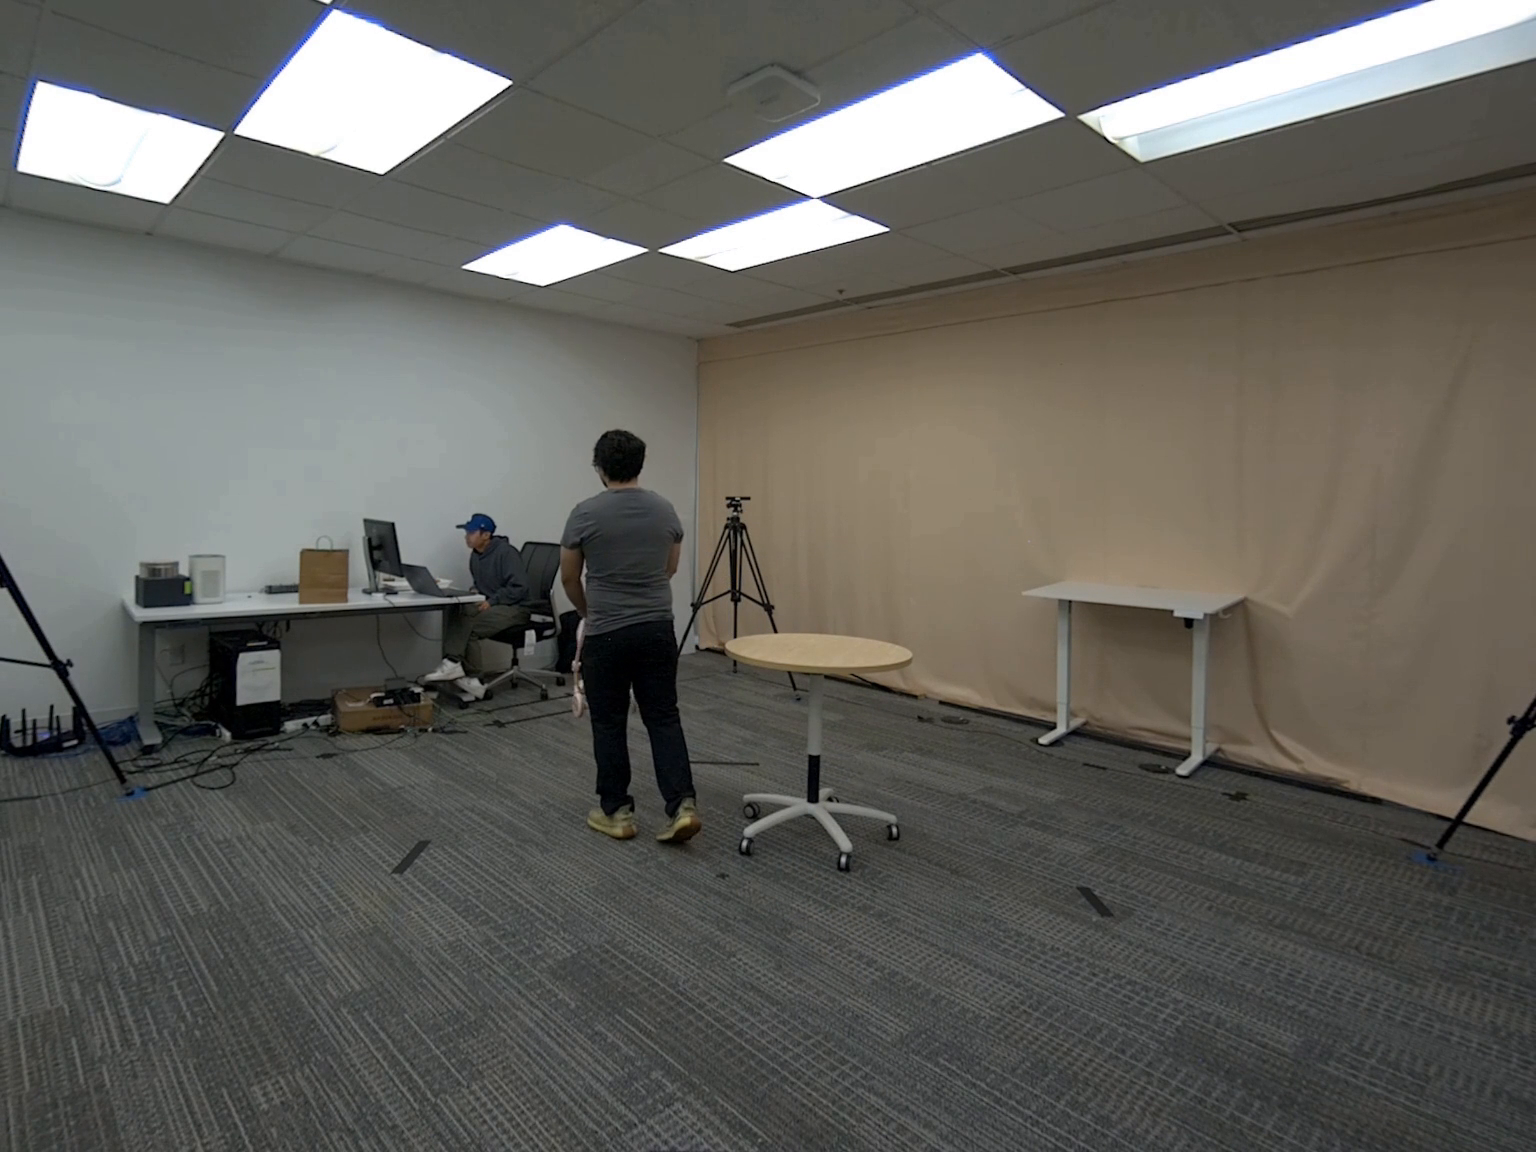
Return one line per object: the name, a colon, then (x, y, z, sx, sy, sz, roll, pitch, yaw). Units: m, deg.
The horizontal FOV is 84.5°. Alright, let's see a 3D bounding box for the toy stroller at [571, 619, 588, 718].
toy stroller: (-0.759, 0.411, 3.837, 0.277, 0.535, 0.347, 0, 1, -21)
